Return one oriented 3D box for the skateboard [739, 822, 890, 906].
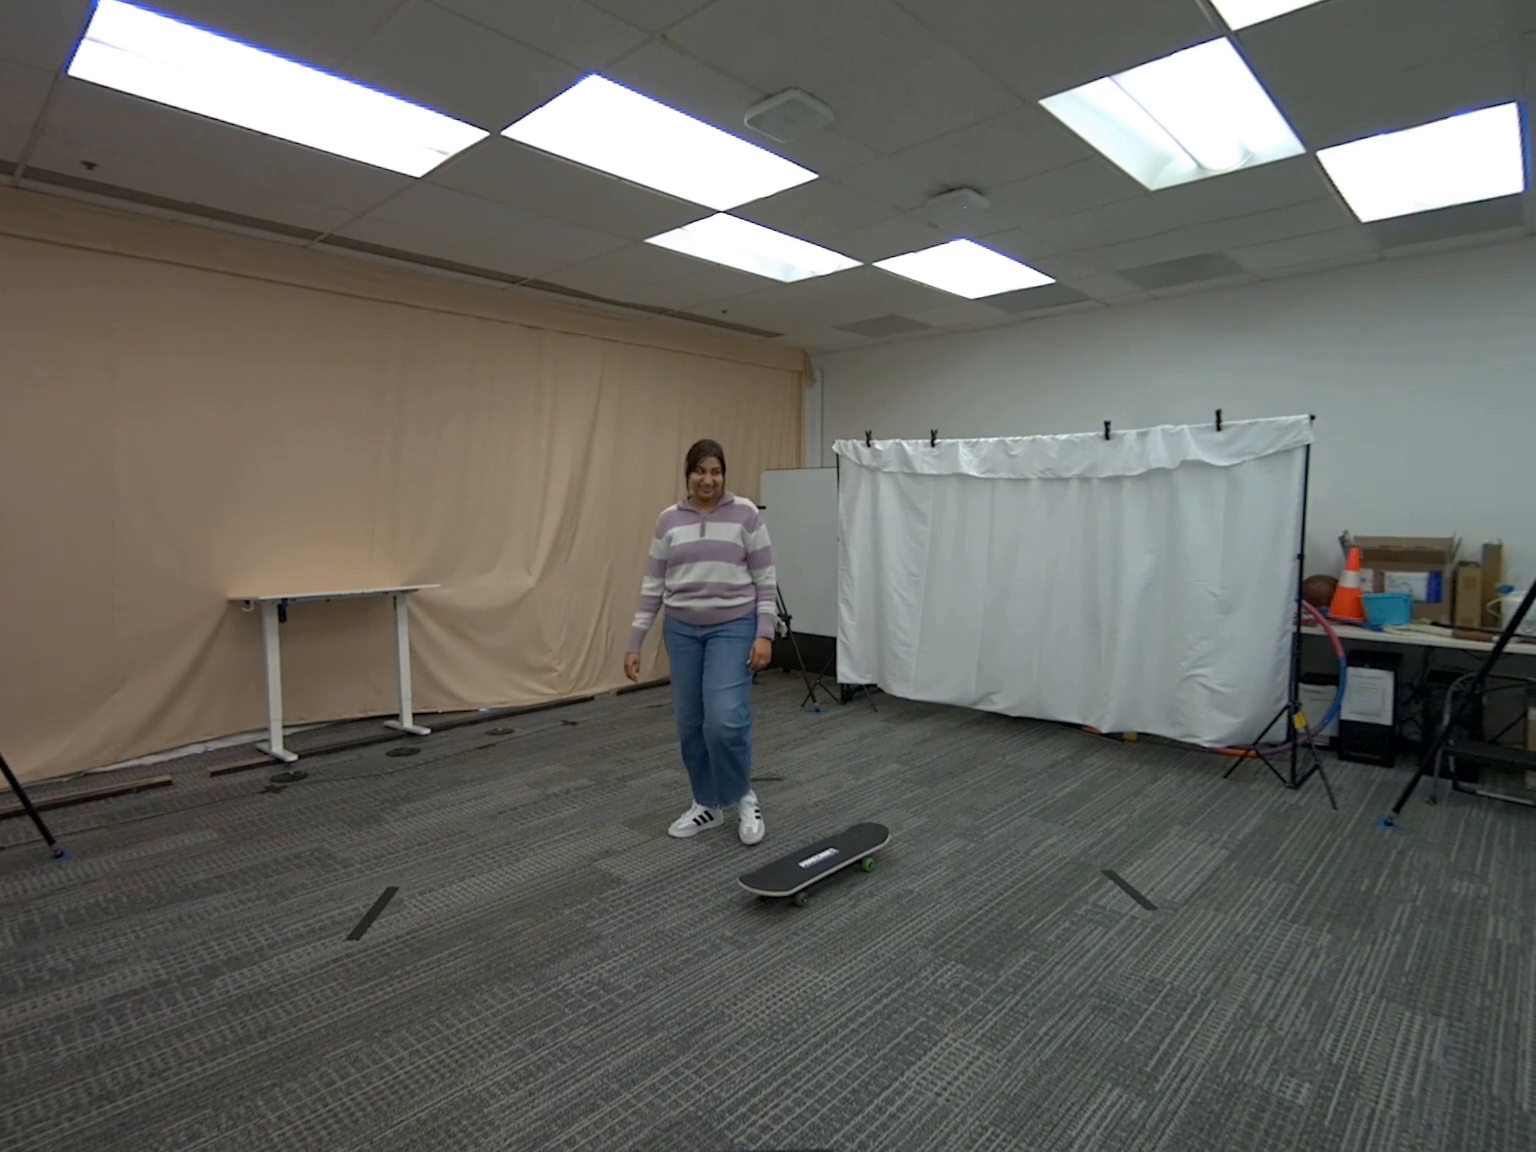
[{"bbox_3d":[0.191,1.076,3.115,0.200,0.110,0.761,4,6,43],"label":"skateboard"}]
